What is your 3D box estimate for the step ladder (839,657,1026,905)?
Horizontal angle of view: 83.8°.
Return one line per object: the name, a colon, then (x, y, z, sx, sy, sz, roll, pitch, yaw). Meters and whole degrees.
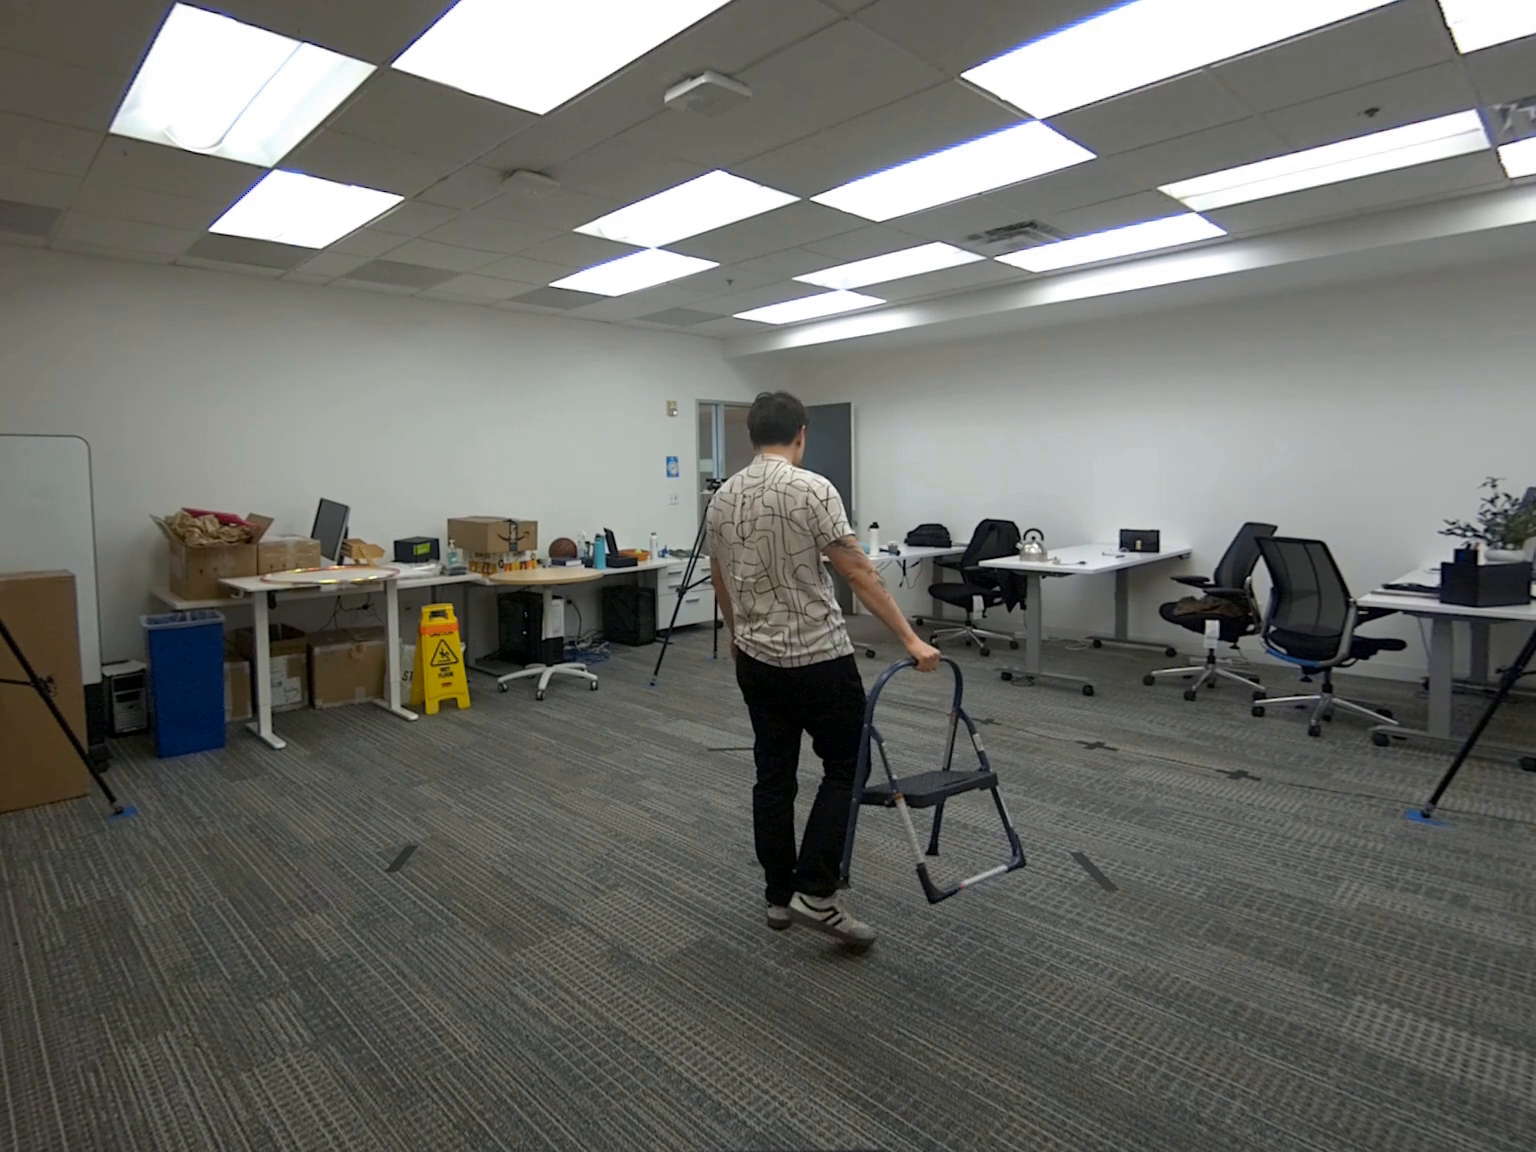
step ladder: (0.425, 0.545, 2.422, 0.418, 0.612, 0.356, 0, -11, -41)
